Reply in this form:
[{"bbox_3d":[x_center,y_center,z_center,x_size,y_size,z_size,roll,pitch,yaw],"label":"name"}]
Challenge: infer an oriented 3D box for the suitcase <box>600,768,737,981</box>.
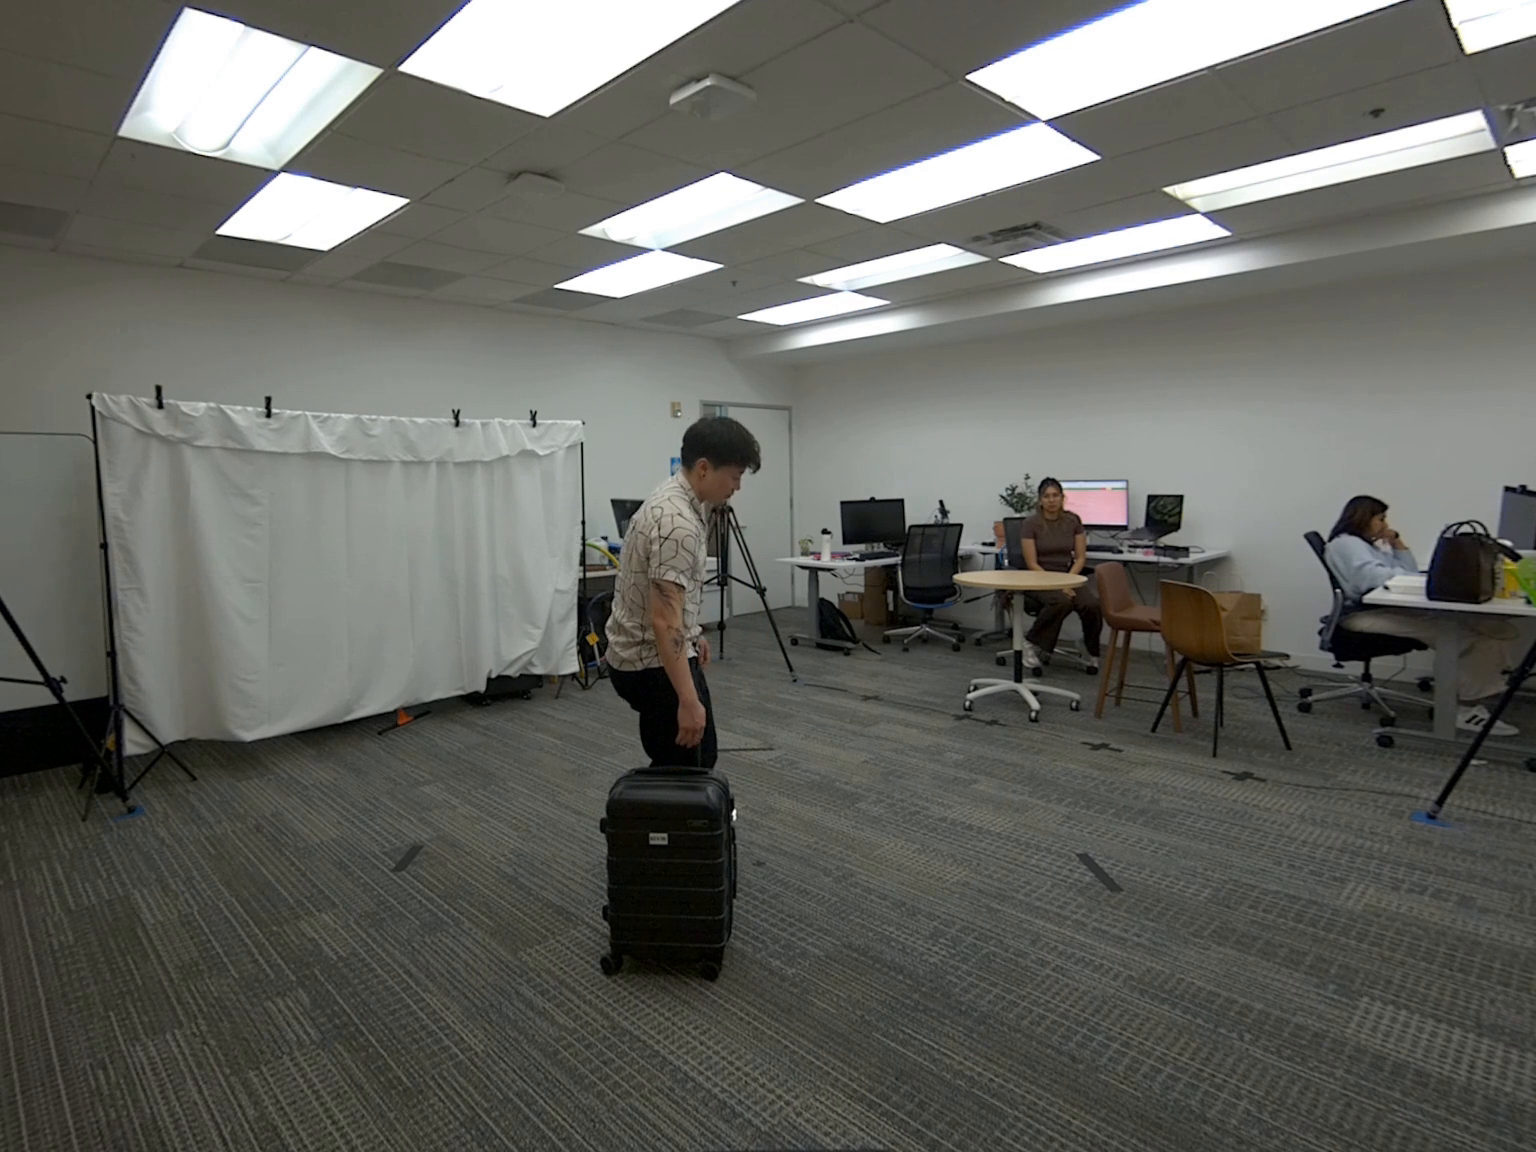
[{"bbox_3d":[-0.281,0.847,2.506,0.377,0.547,0.248,0,5,4],"label":"suitcase"}]
